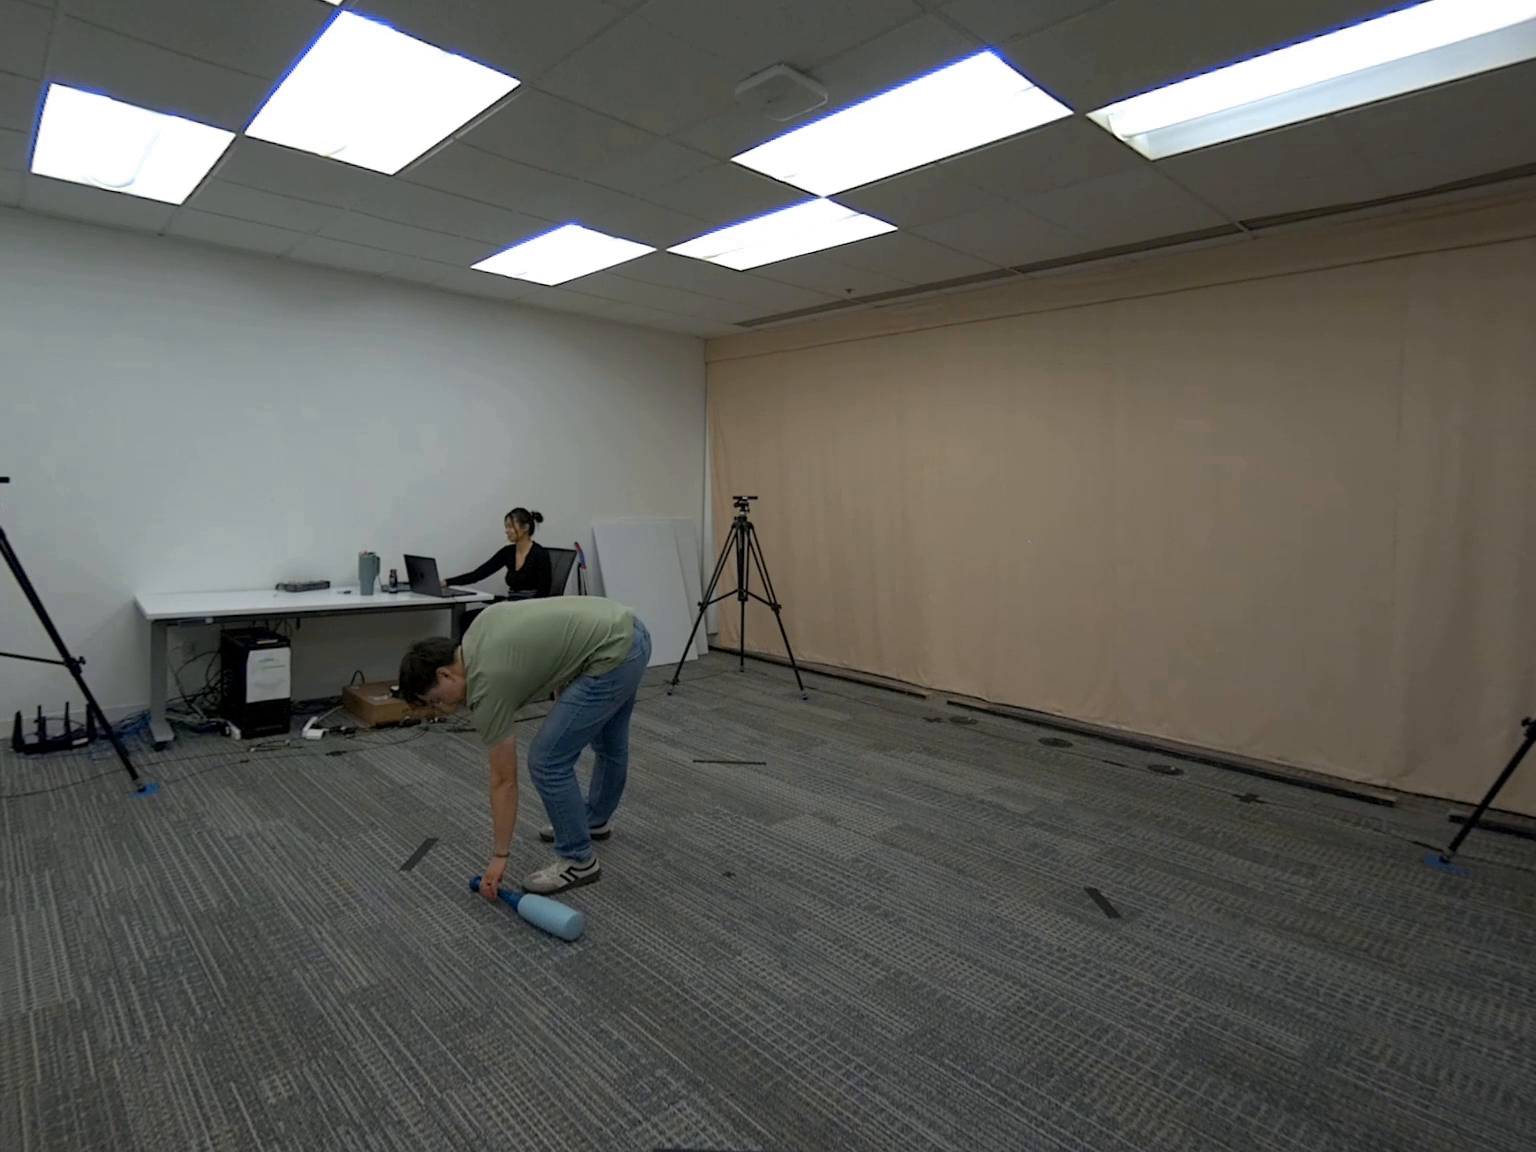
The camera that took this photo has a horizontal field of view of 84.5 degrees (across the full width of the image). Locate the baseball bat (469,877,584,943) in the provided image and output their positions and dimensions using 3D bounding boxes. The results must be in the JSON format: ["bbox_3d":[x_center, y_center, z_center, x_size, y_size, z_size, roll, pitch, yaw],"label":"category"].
[{"bbox_3d":[-0.817,1.081,2.772,0.556,0.089,0.087,3,4,40],"label":"baseball bat"}]
